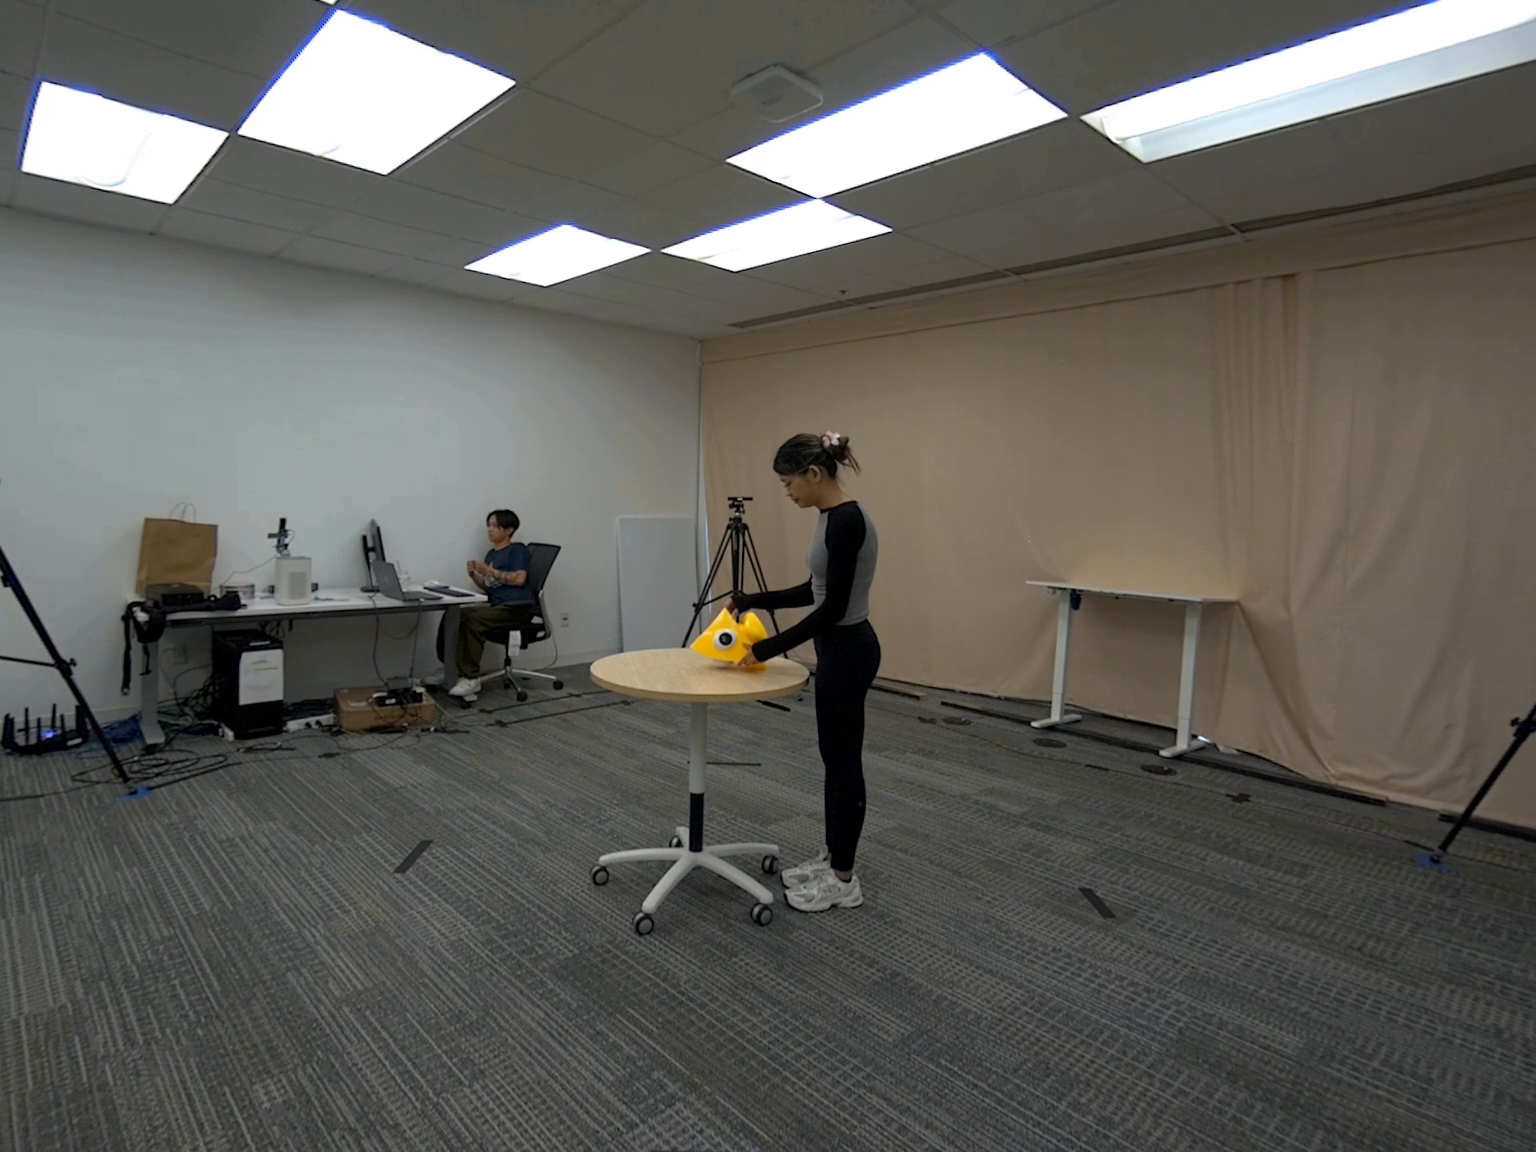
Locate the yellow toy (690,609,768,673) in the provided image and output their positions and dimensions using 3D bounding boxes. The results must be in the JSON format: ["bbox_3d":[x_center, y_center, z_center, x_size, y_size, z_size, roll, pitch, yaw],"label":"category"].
[{"bbox_3d":[-0.144,0.253,2.941,0.228,0.201,0.199,-18,46,-25],"label":"yellow toy"}]
